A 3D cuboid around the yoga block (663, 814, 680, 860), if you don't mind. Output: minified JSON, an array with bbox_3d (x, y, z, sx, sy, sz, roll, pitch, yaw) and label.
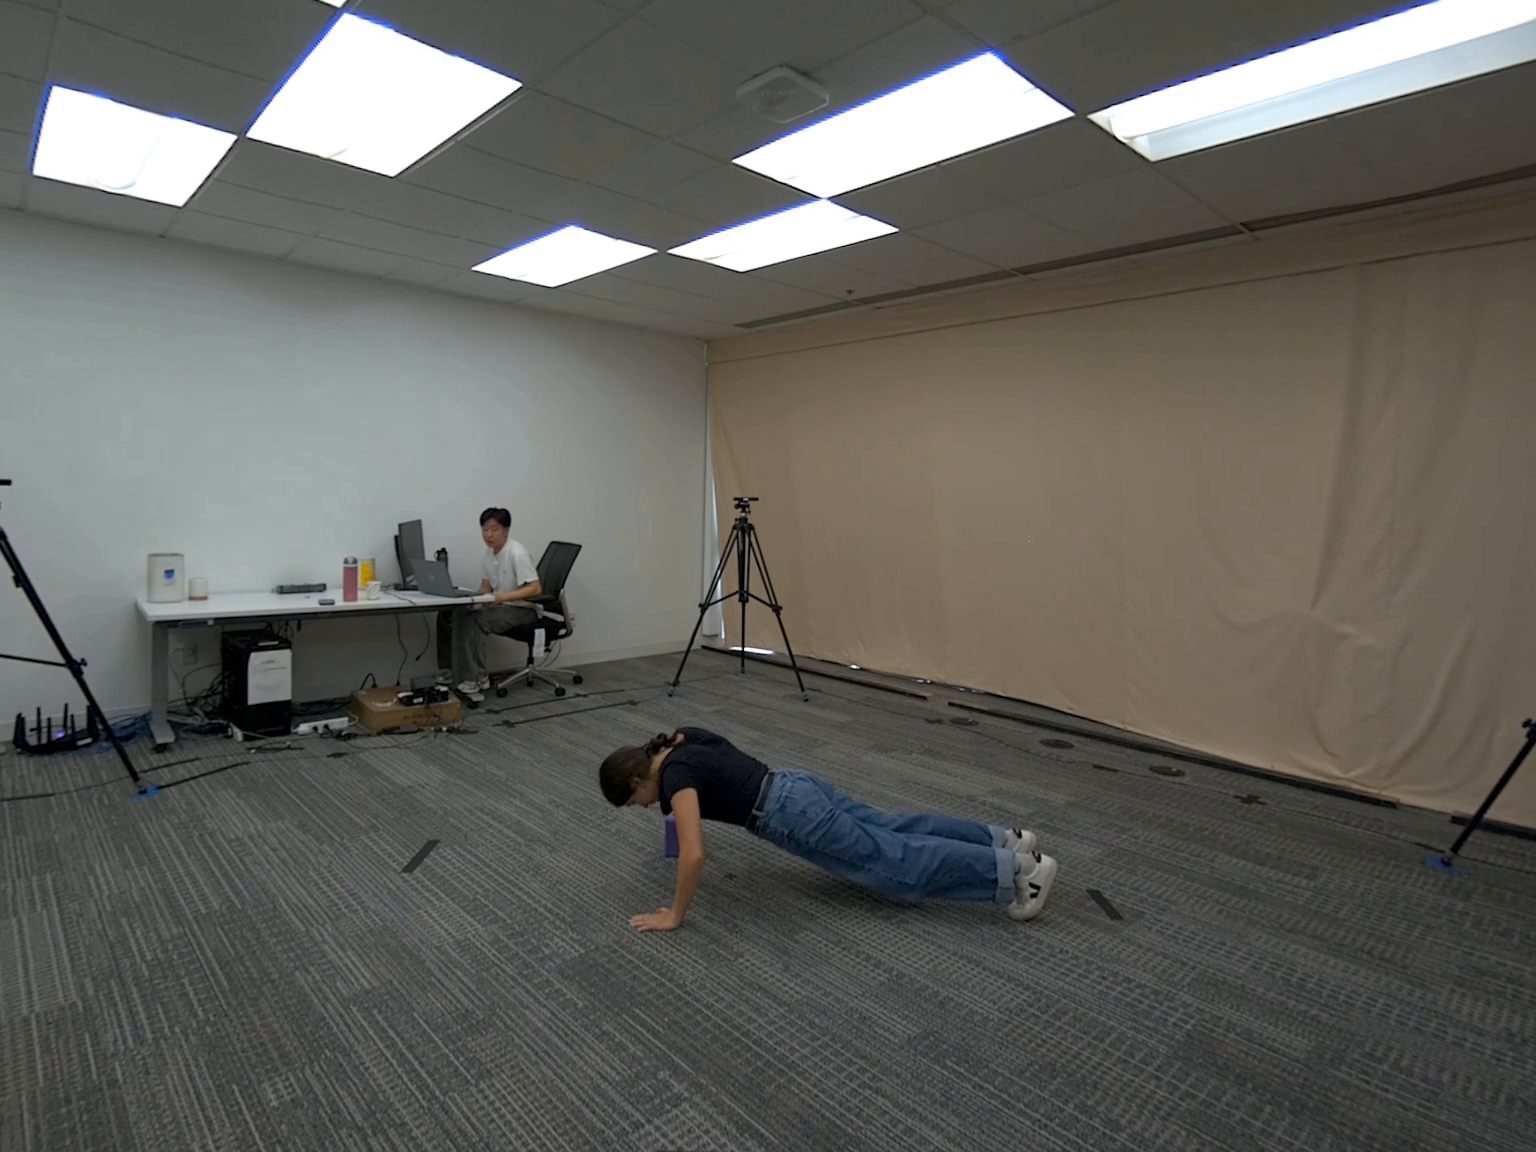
[{"bbox_3d":[-0.354,1.013,3.356,0.077,0.148,0.229,2,7,5],"label":"yoga block"}]
